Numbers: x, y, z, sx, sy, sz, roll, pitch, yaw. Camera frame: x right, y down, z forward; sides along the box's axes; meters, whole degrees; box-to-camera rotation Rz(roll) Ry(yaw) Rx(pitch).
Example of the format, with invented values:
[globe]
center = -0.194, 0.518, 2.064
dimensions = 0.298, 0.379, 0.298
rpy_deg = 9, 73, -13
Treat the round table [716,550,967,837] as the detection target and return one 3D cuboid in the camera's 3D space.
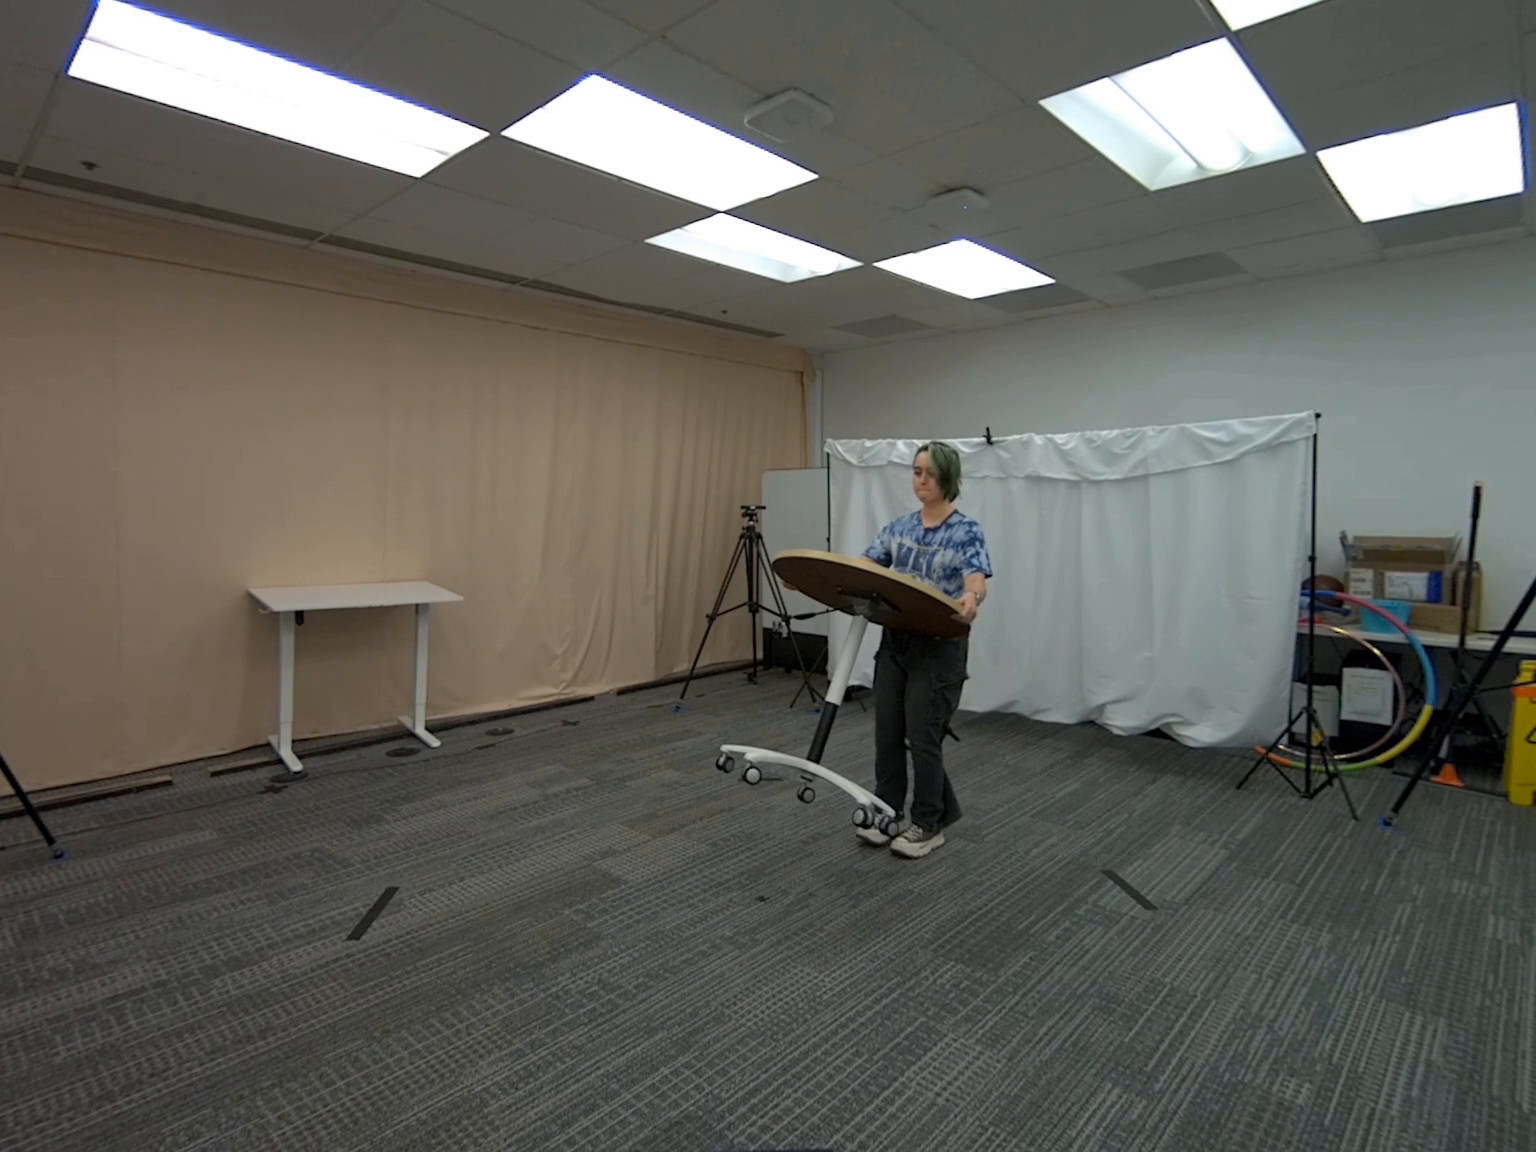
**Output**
[round table]
center = 0.244, 0.435, 3.055
dimensions = 0.768, 0.796, 0.758
rpy_deg = 20, -13, 3
